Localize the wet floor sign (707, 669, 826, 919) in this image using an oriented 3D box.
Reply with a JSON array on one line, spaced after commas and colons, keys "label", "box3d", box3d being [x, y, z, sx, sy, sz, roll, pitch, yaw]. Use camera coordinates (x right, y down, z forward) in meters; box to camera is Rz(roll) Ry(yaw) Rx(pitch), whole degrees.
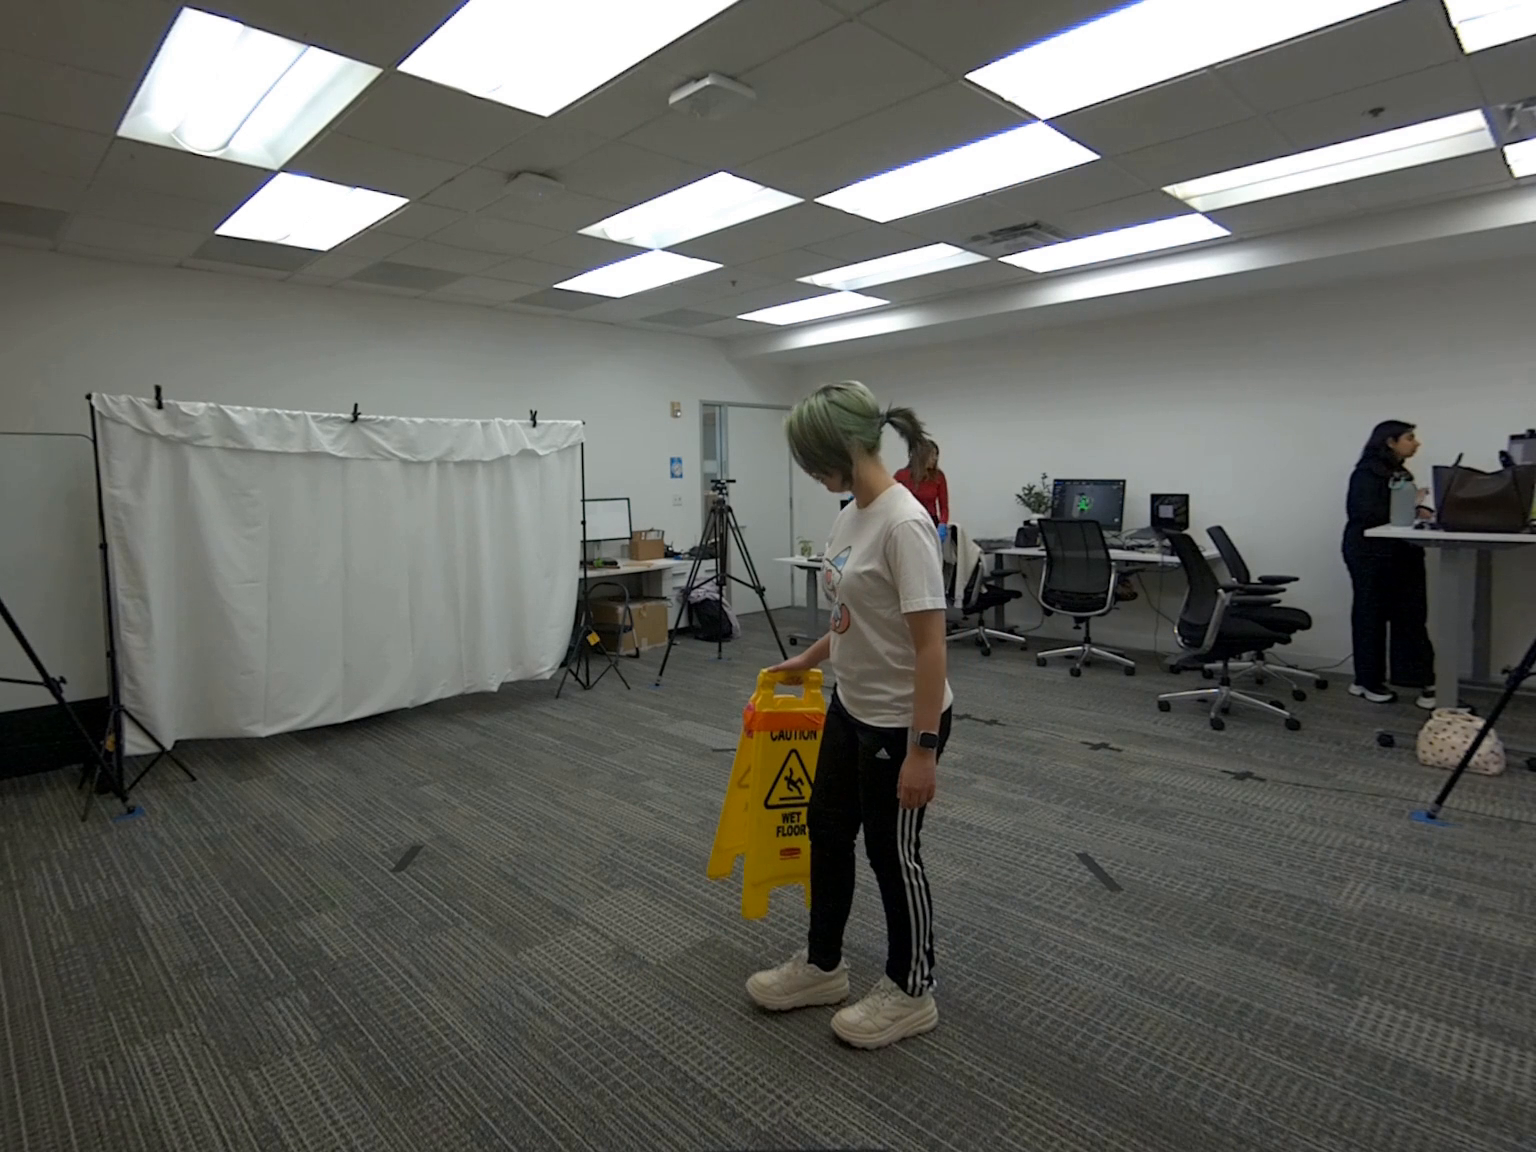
[{"label": "wet floor sign", "box3d": [0.032, 0.584, 2.432, 0.275, 0.645, 0.297, 6, 1, -28]}]
